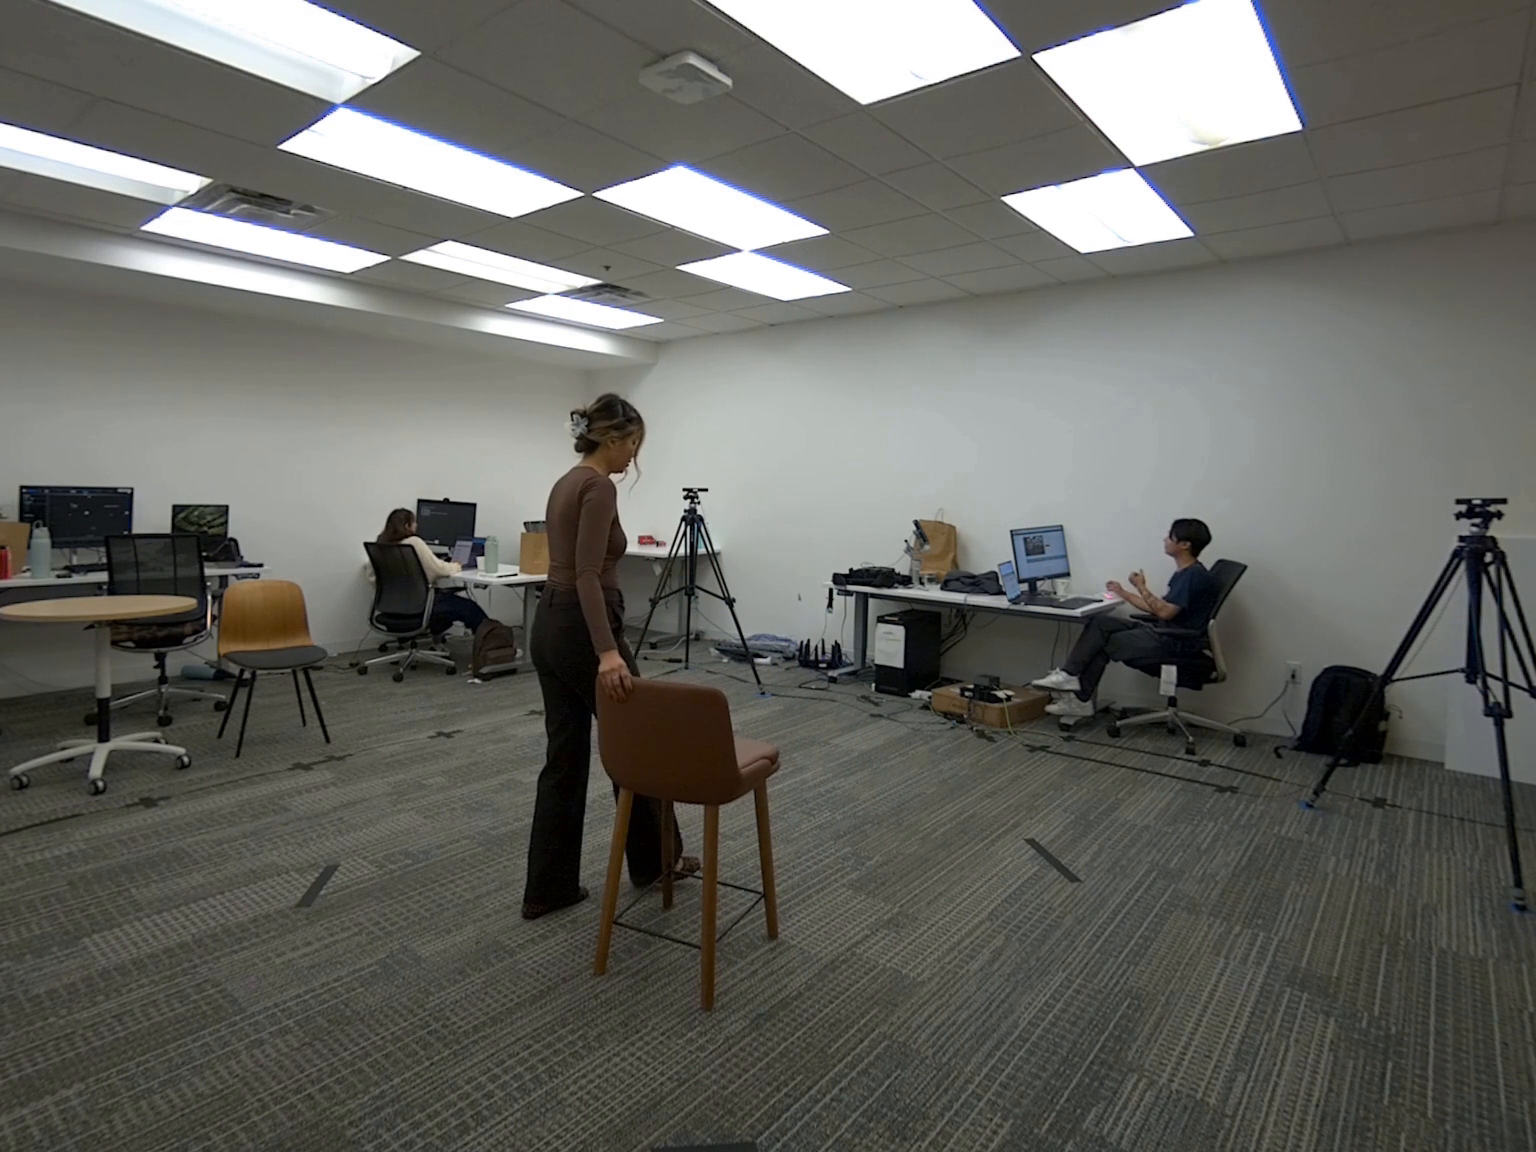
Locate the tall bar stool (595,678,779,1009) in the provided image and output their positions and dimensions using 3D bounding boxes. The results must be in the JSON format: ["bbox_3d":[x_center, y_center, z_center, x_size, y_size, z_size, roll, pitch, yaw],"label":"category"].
[{"bbox_3d":[-0.240,0.691,2.514,0.468,0.886,0.458,2,5,25],"label":"tall bar stool"}]
